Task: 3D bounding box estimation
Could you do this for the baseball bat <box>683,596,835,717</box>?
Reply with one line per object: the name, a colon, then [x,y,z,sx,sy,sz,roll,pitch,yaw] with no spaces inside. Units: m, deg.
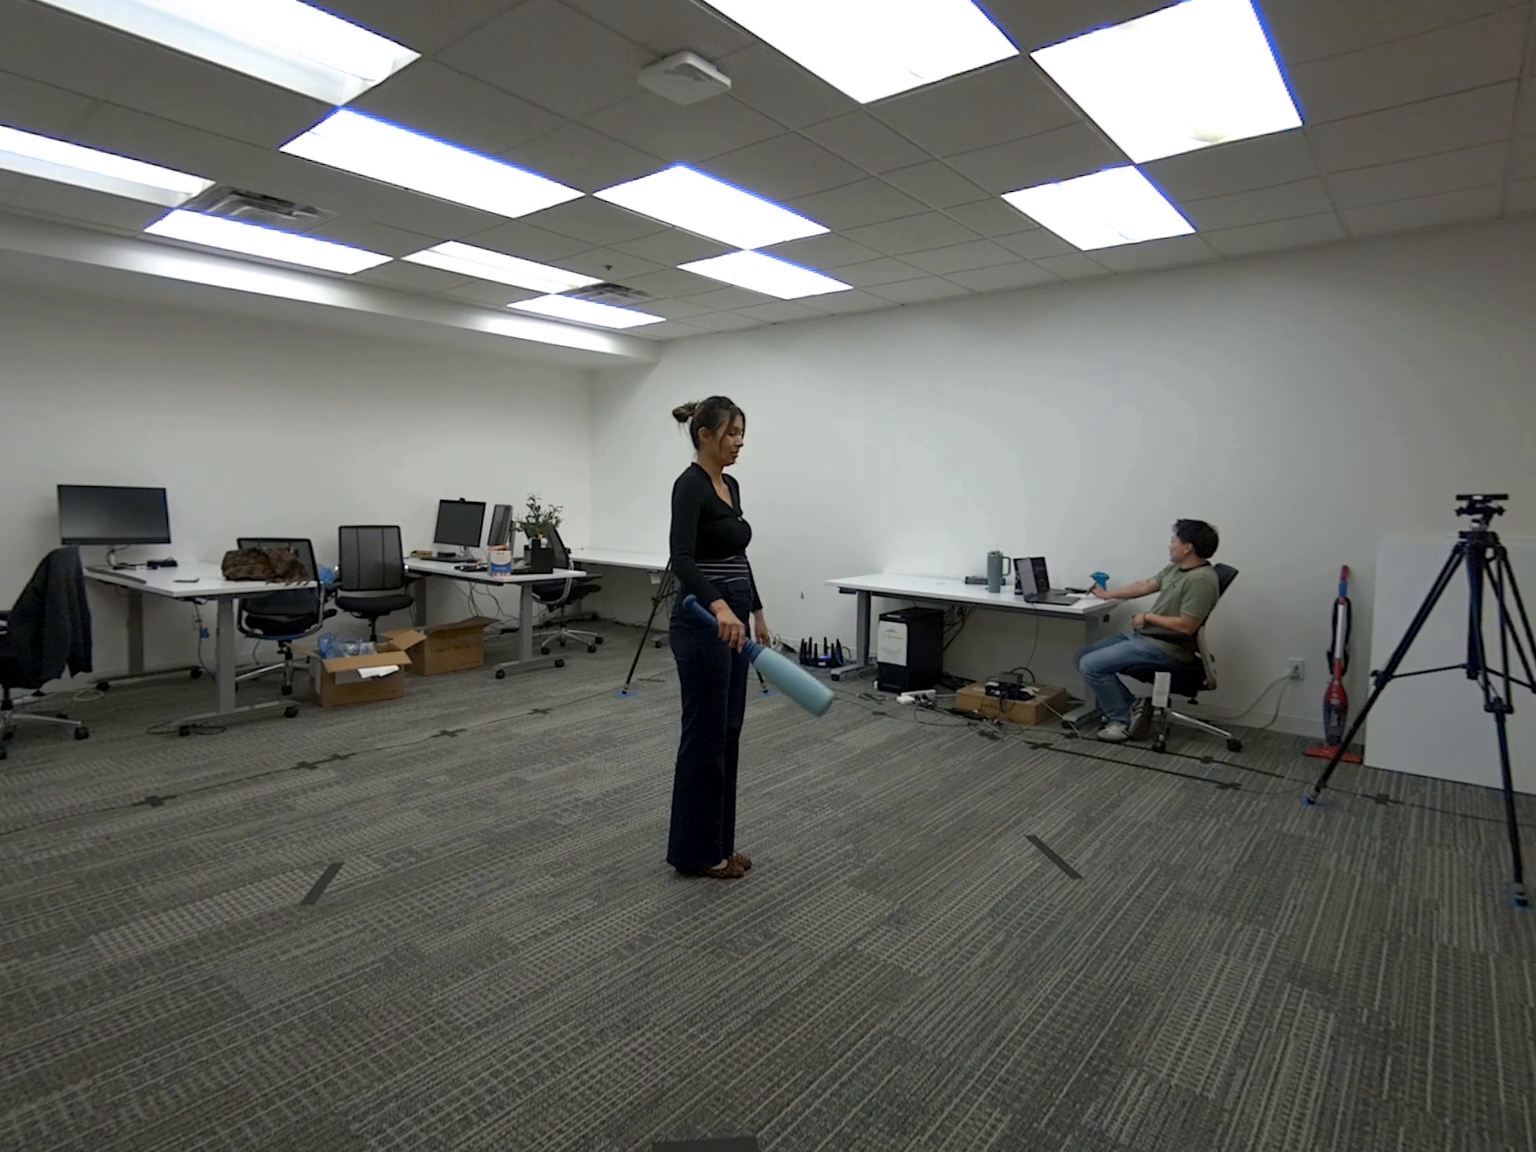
baseball bat: [-0.044,0.220,2.554,0.557,0.088,0.087,34,15,19]
